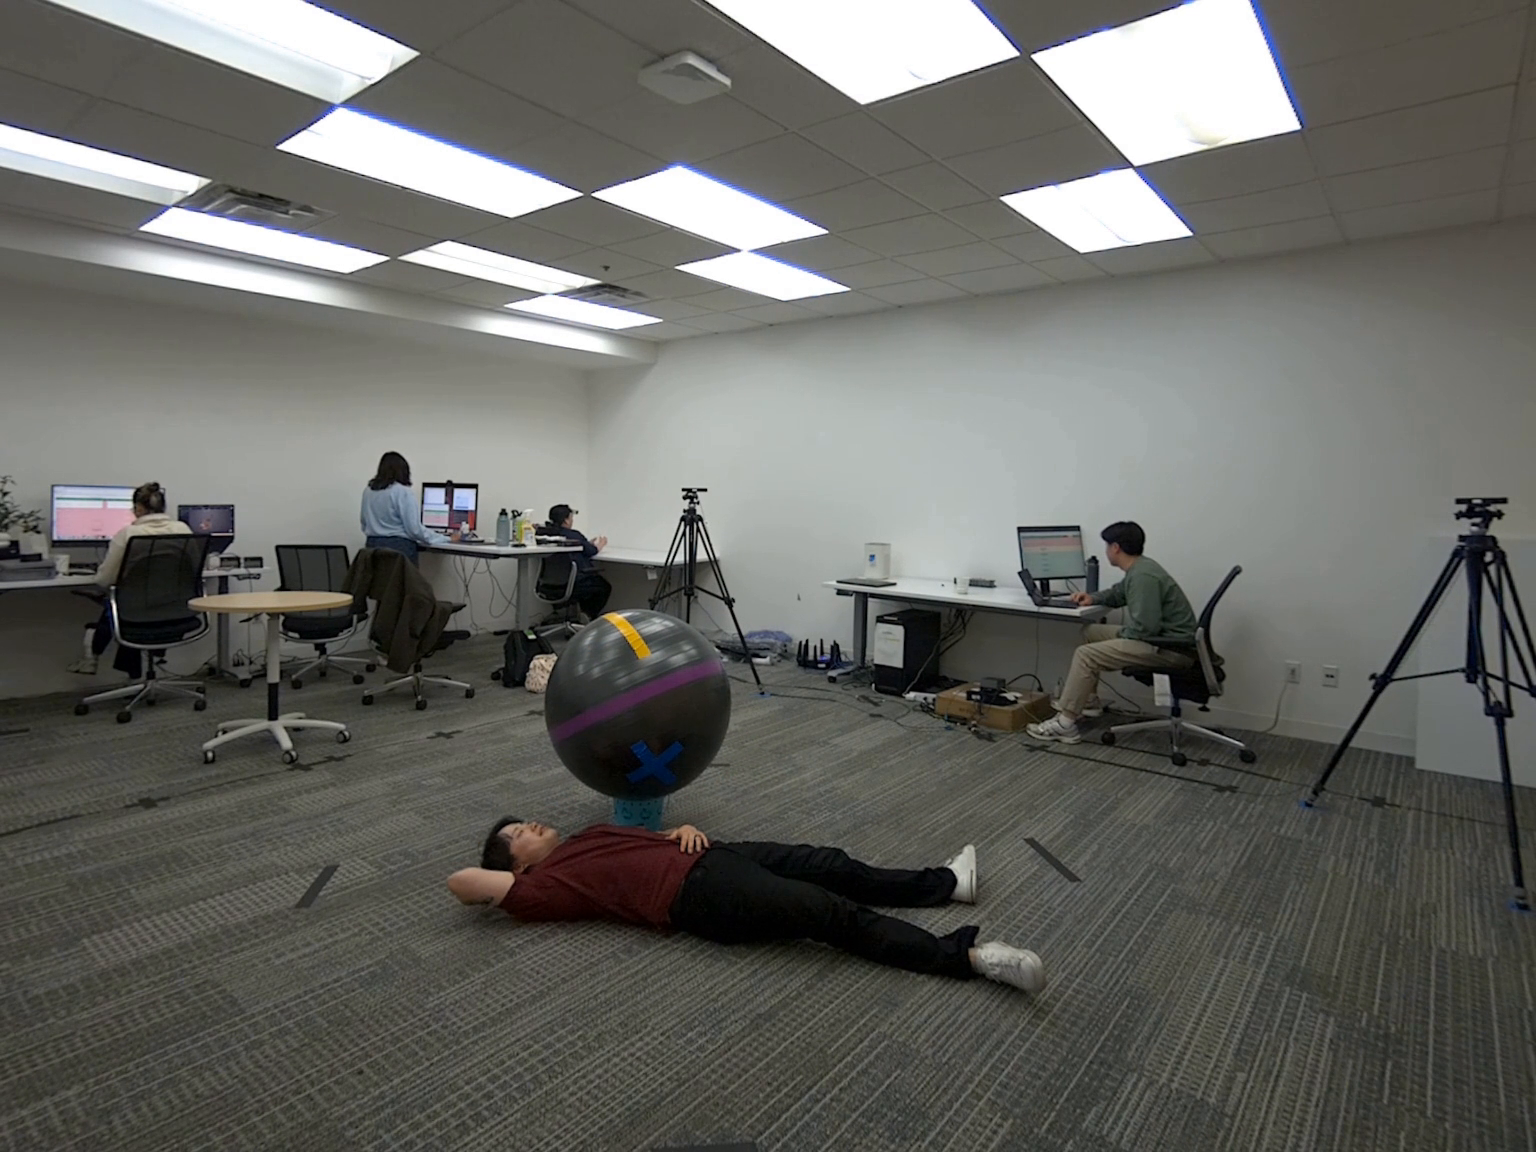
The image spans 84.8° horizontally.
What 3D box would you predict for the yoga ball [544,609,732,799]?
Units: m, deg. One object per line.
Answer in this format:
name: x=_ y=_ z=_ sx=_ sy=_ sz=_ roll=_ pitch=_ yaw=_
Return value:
yoga ball: x=-0.547 y=0.519 z=3.466 sx=0.757 sy=0.755 sz=0.762 roll=1 pitch=4 yaw=-2
